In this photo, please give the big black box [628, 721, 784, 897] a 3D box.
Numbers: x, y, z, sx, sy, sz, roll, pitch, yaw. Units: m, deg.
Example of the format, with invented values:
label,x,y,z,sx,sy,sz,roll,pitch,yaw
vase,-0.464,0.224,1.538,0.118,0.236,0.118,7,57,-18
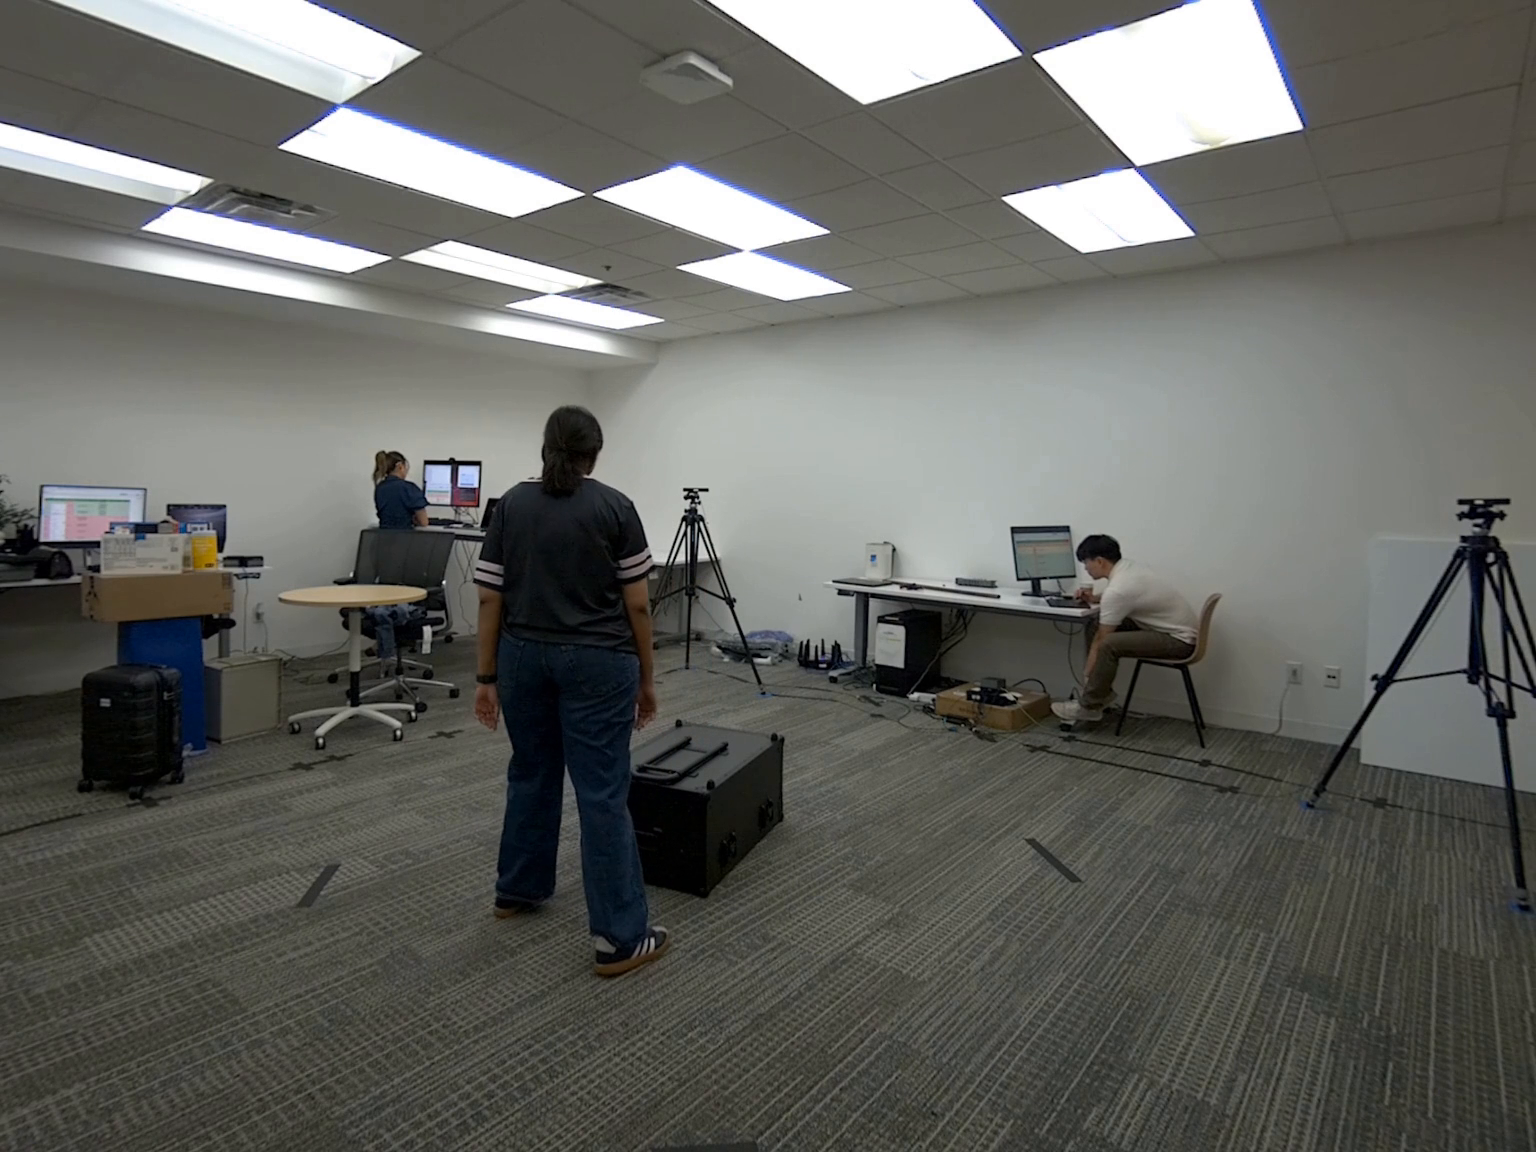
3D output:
label,x,y,z,sx,sy,sz,roll,pitch,yaw
big black box,-0.294,0.846,3.361,0.533,0.395,0.844,3,5,21
